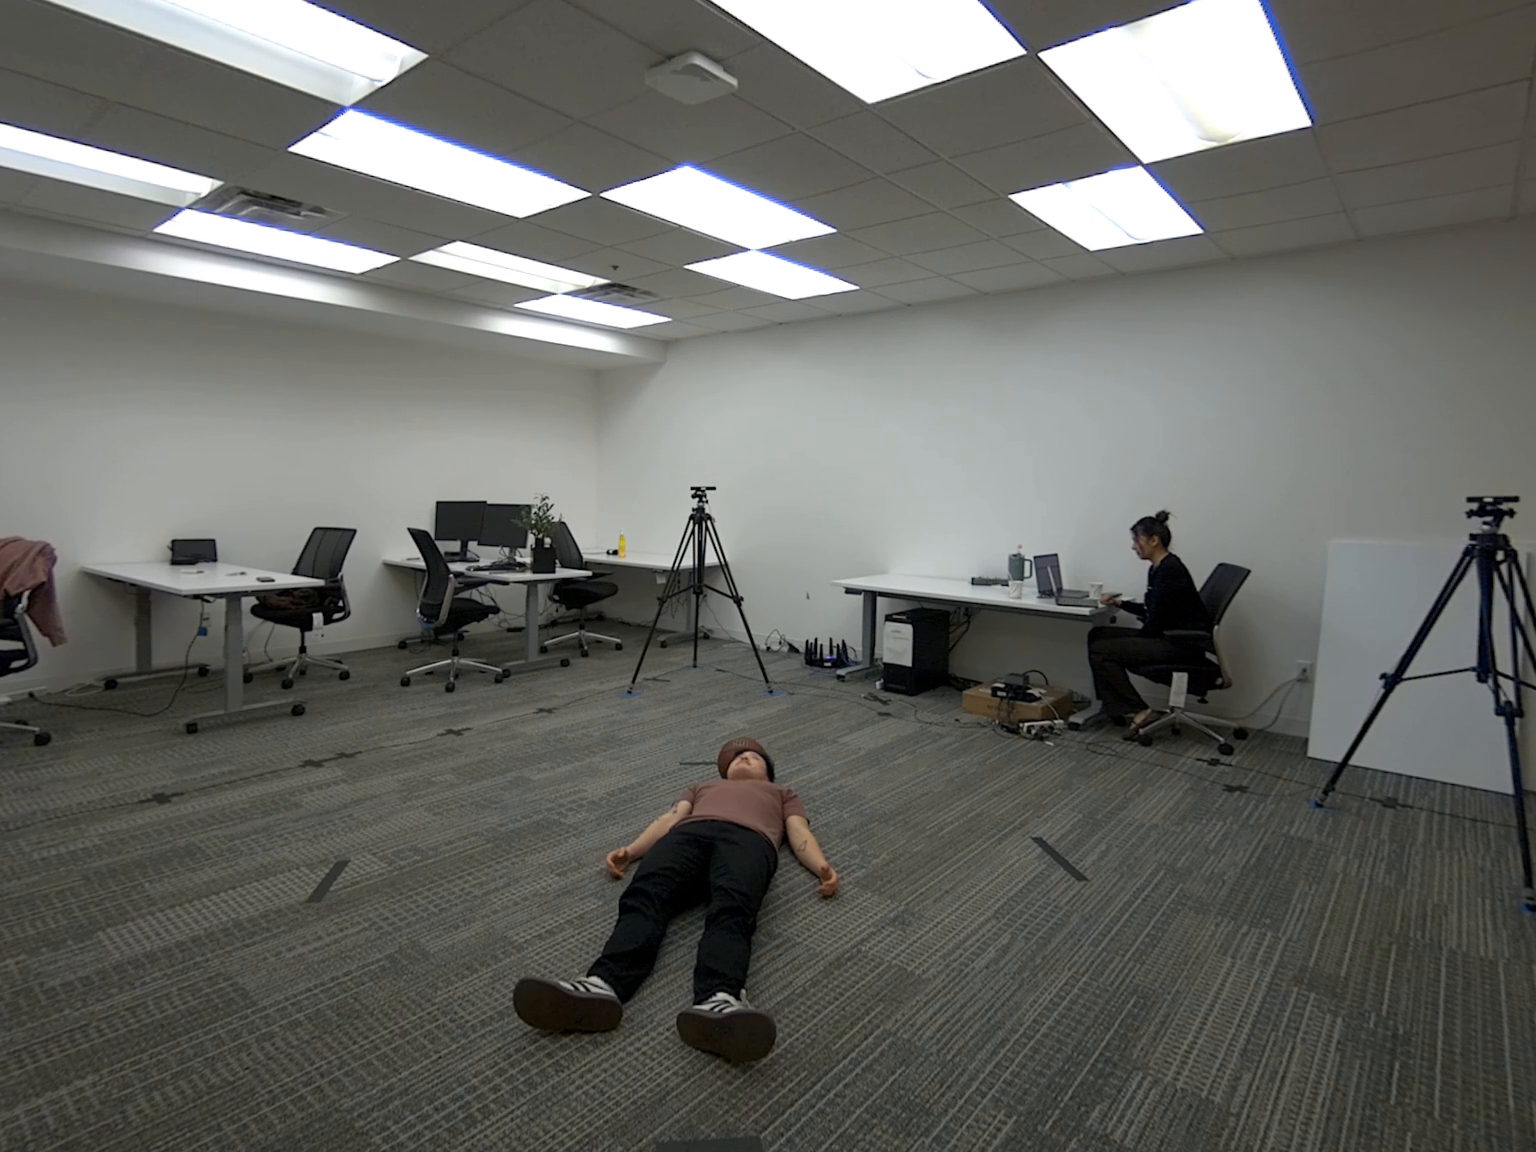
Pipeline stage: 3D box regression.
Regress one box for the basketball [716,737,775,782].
[{"bbox_3d":[-0.136,0.861,3.950,0.236,0.235,0.237,-3,3,-2],"label":"basketball"}]
